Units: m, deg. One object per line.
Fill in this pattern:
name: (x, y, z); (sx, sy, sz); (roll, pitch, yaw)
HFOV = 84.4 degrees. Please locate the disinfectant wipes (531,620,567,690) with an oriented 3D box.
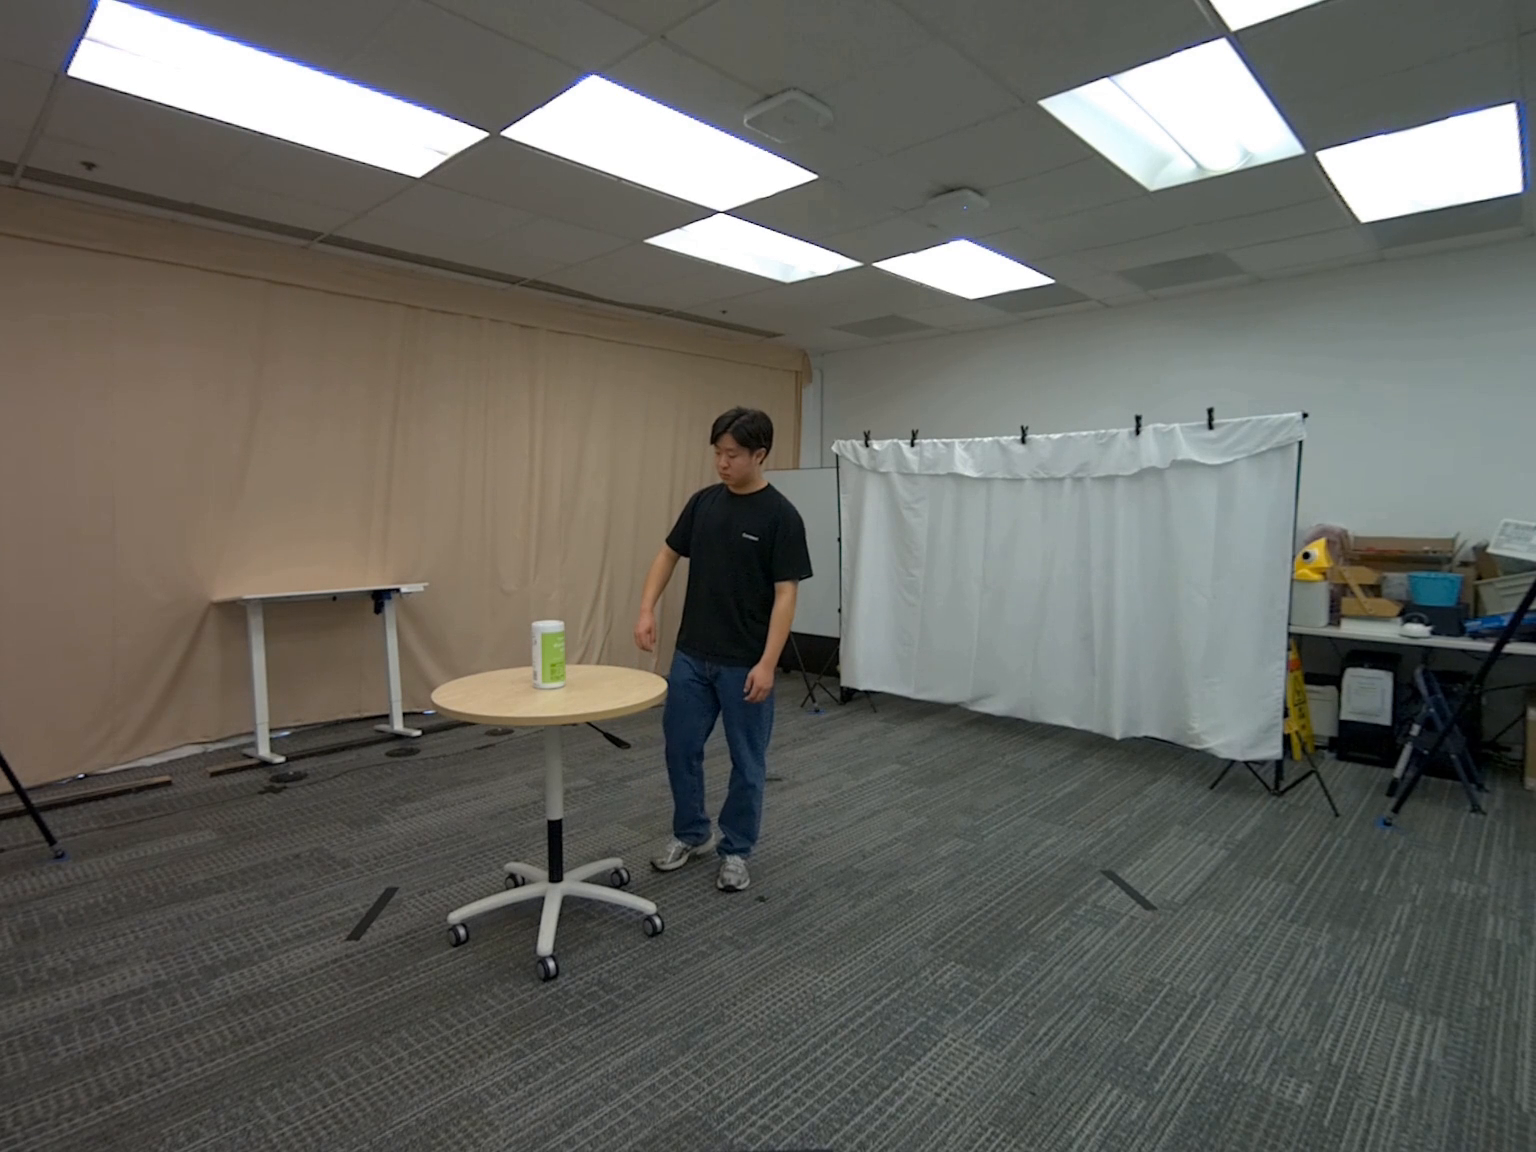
disinfectant wipes: (-0.738, 0.261, 2.804); (0.118, 0.217, 0.118); (1, 3, -2)
